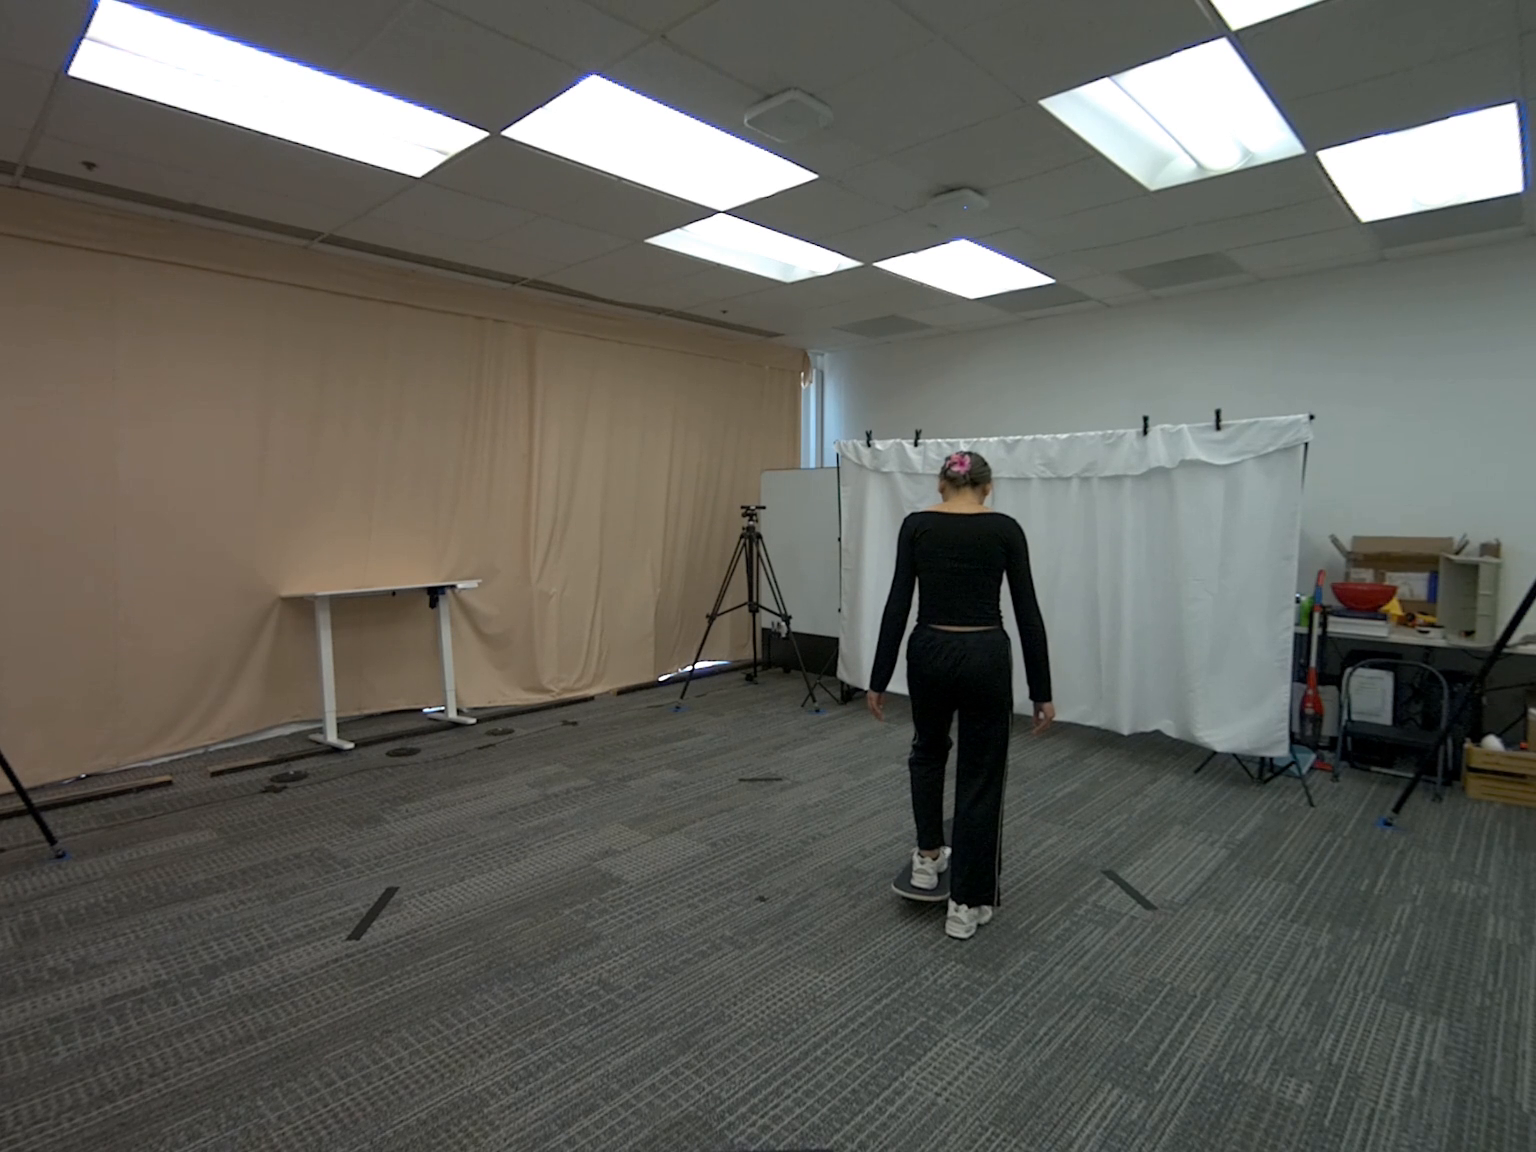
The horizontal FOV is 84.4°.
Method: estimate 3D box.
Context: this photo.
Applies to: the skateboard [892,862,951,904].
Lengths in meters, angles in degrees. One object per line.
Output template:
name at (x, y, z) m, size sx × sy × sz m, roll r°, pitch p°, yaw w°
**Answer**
skateboard at (0.648, 1.078, 3.124) m, size 0.199 × 0.110 × 0.766 m, roll 2°, pitch 6°, yaw 28°
